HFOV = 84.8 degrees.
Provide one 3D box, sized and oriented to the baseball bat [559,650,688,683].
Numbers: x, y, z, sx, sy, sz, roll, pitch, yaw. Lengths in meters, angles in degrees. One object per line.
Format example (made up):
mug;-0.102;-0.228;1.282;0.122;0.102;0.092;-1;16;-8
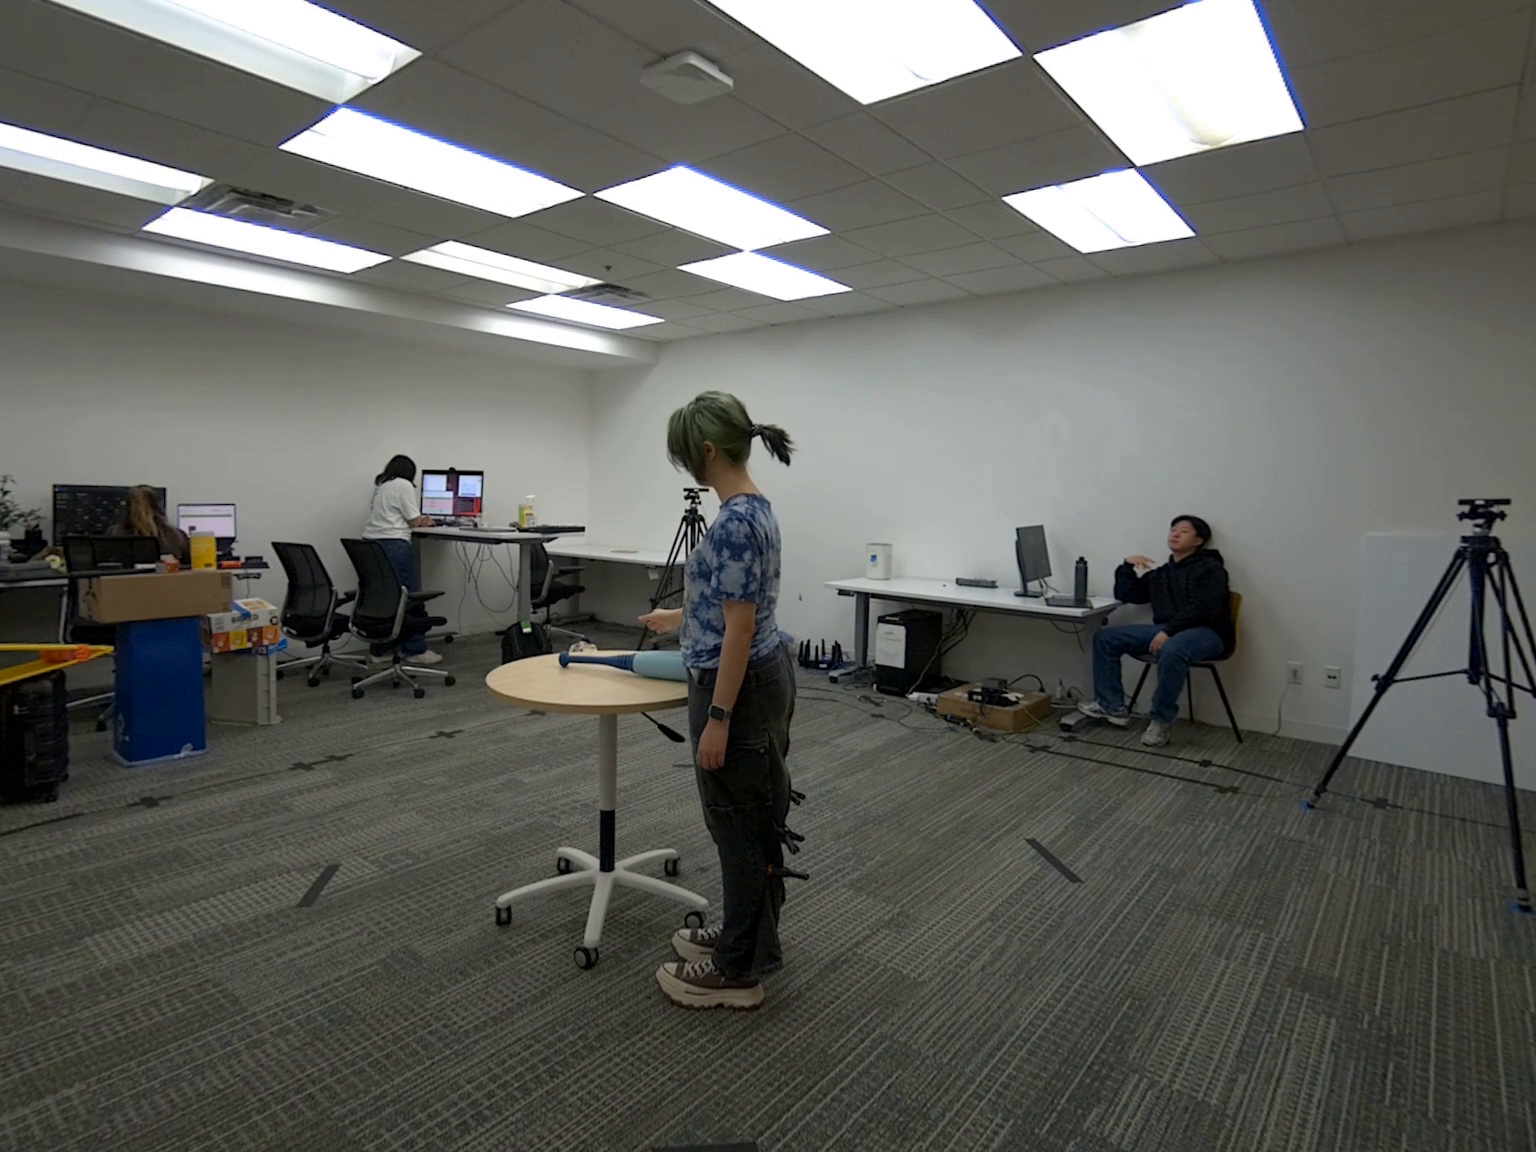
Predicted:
baseball bat;-0.455;0.283;2.741;0.555;0.089;0.087;0;3;21
